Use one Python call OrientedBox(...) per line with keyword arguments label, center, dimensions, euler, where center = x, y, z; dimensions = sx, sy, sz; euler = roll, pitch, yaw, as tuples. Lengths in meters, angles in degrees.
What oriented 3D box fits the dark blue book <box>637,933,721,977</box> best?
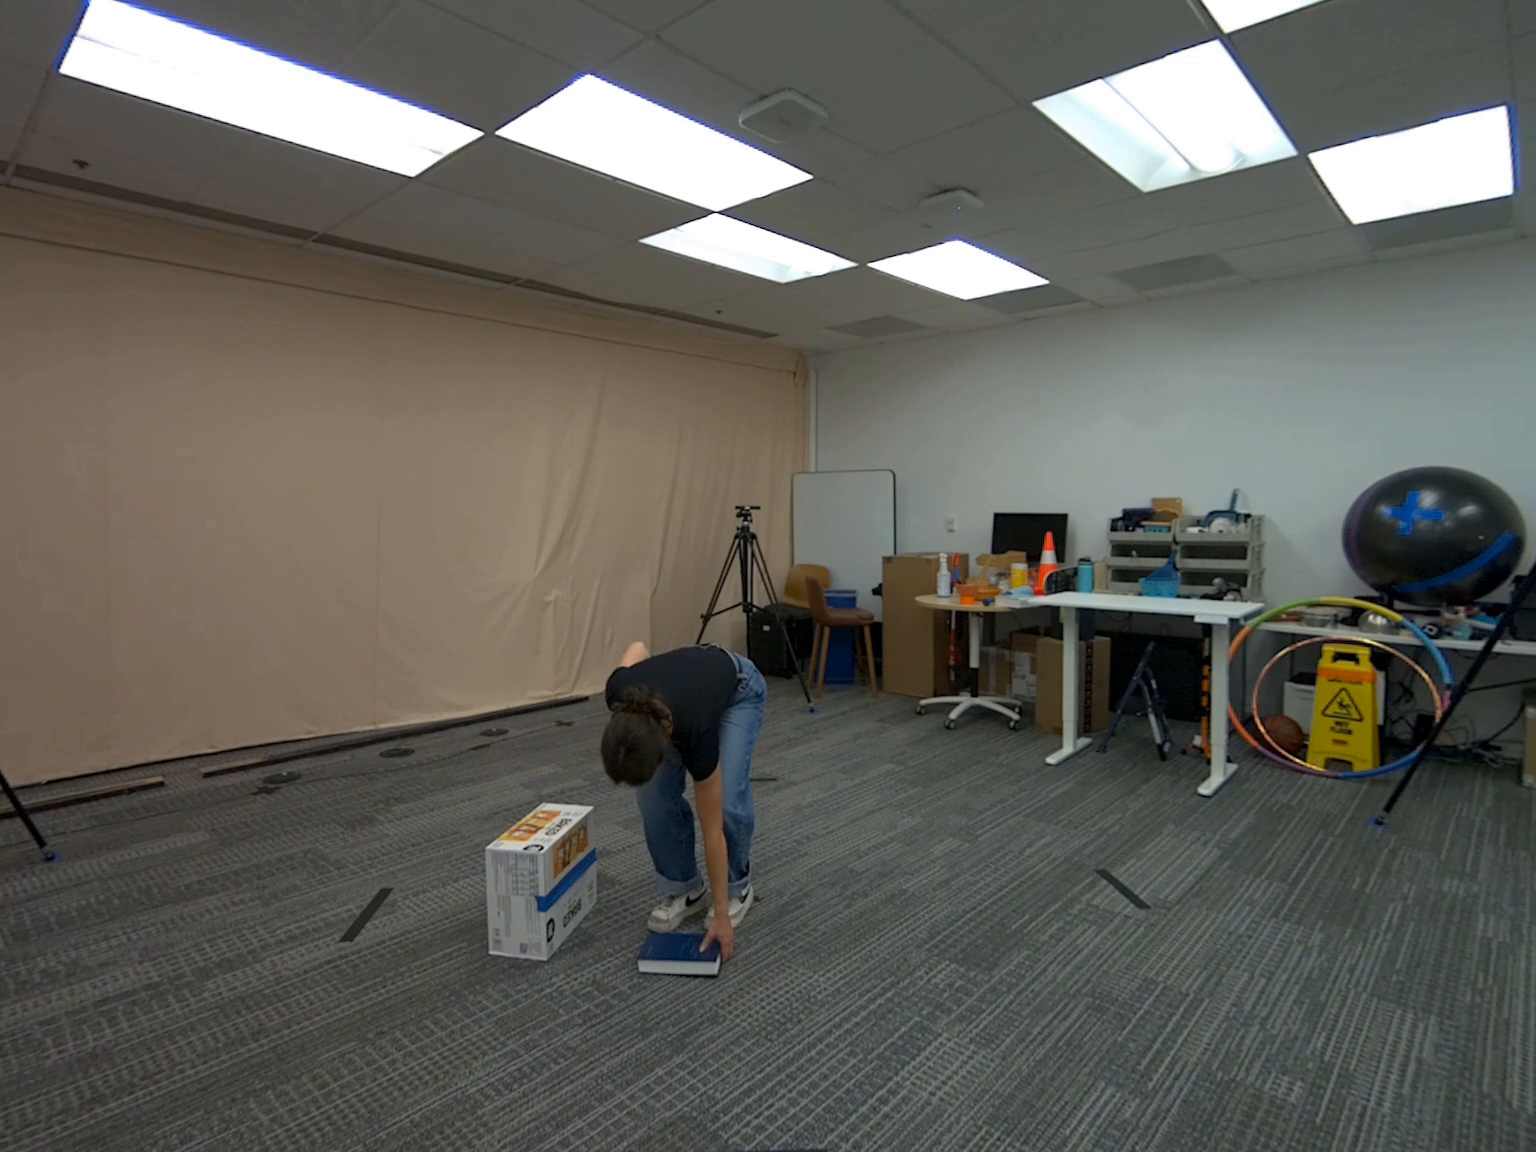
OrientedBox(label="dark blue book", center=(-0.265, 1.143, 2.572), dimensions=(0.247, 0.045, 0.162), euler=(-1, 5, 9))
